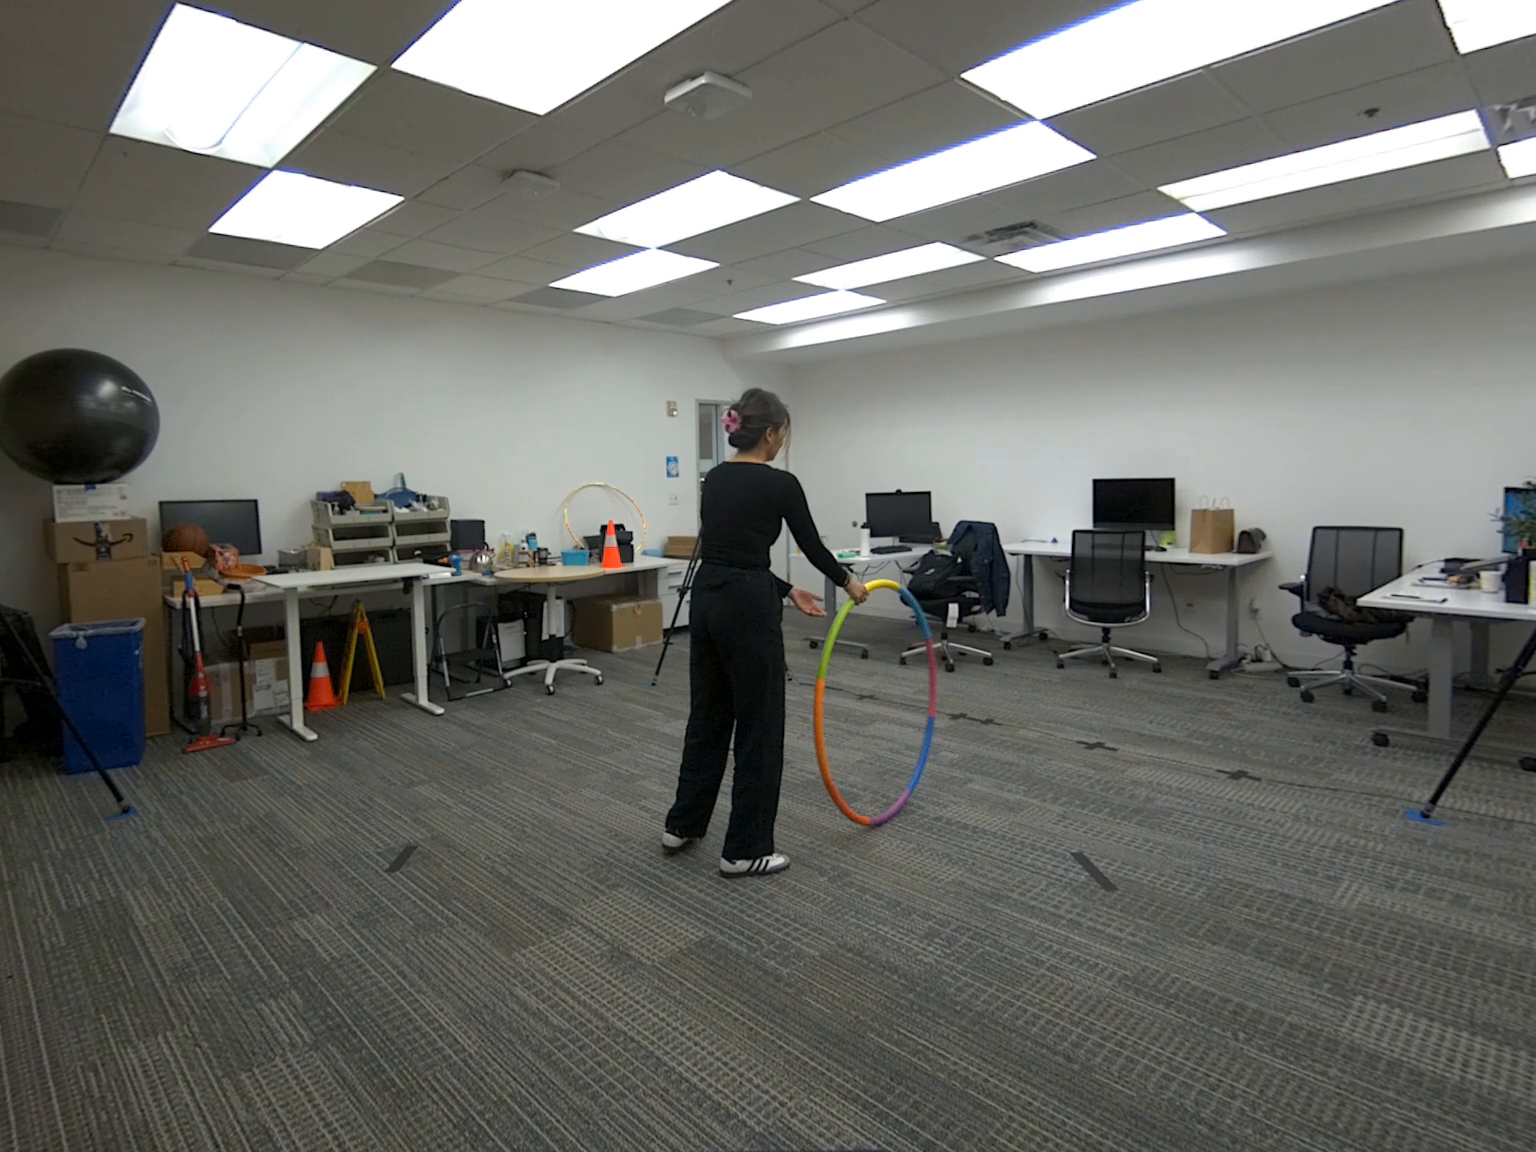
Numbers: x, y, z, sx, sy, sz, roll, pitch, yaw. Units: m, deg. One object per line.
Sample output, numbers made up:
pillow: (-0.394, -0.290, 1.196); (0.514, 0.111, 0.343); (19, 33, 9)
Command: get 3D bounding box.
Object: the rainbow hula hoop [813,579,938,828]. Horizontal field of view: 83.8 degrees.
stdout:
rainbow hula hoop: (0.462, 0.513, 3.477); (0.036, 0.977, 0.954); (-3, 3, 37)
